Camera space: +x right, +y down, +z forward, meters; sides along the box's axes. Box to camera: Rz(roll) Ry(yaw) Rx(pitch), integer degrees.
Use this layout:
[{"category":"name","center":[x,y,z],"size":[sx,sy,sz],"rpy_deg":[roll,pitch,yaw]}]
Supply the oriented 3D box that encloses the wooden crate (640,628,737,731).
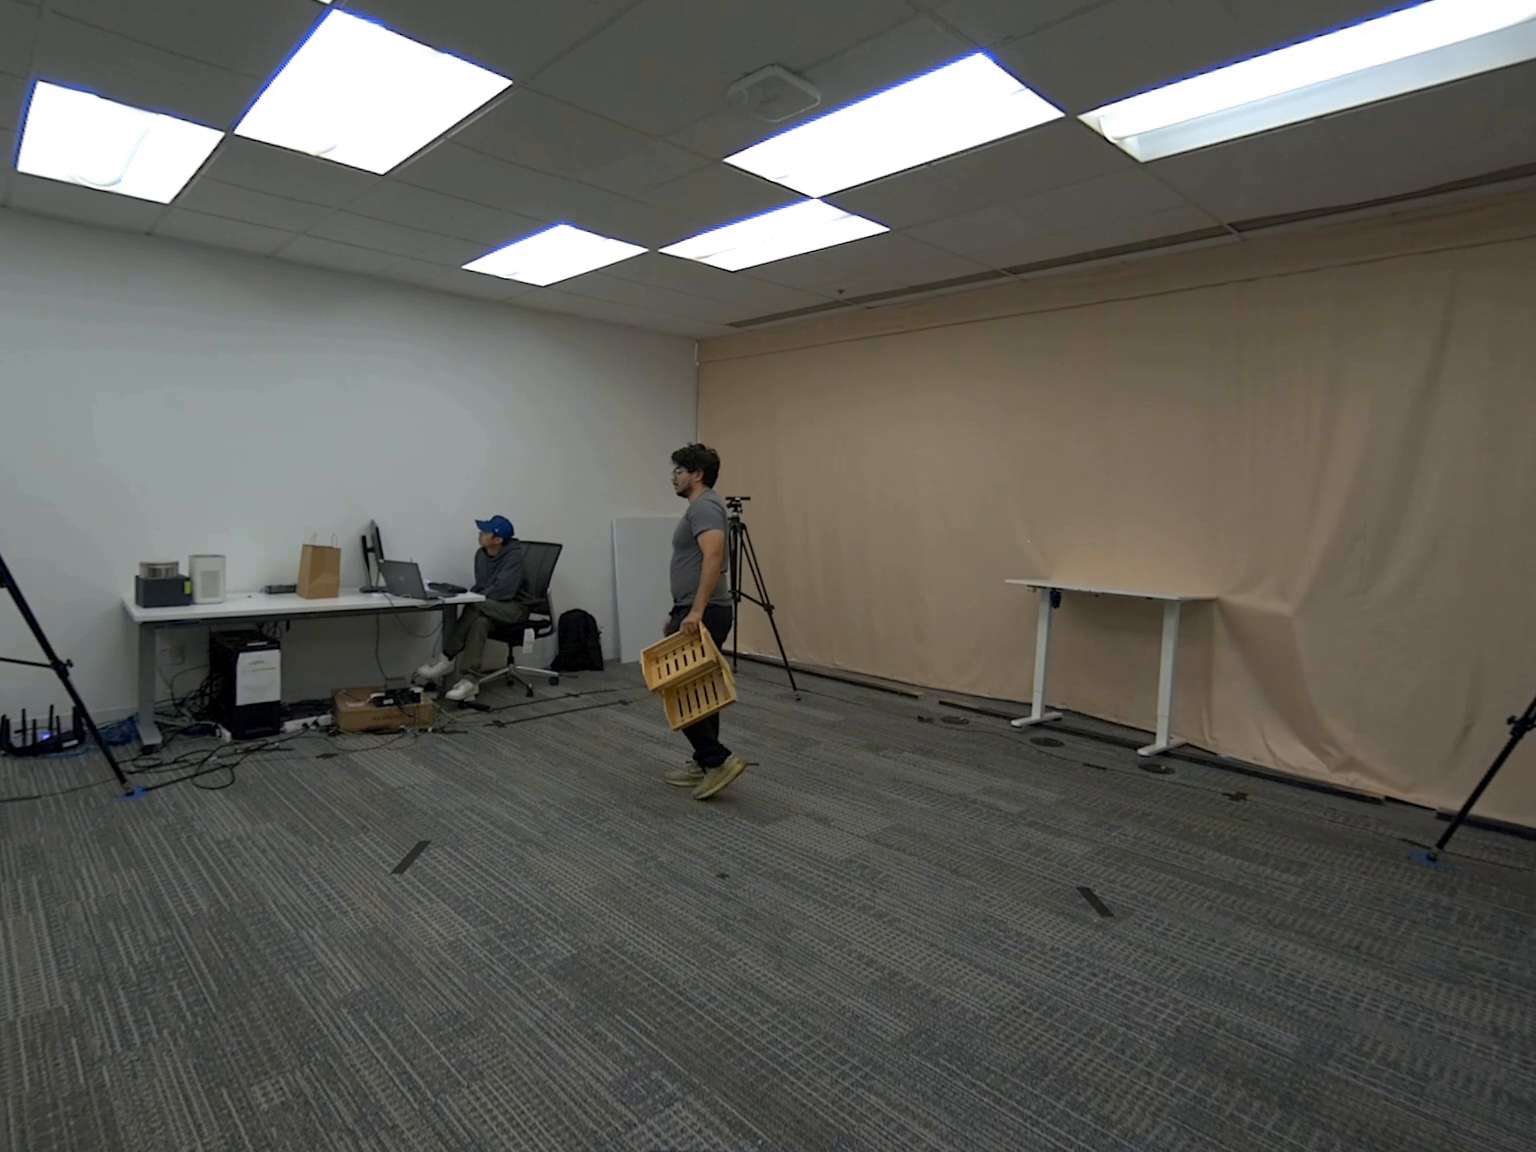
[{"category":"wooden crate","center":[-0.360,0.434,3.608],"size":[0.325,0.265,0.310],"rpy_deg":[-27,36,7]}]
